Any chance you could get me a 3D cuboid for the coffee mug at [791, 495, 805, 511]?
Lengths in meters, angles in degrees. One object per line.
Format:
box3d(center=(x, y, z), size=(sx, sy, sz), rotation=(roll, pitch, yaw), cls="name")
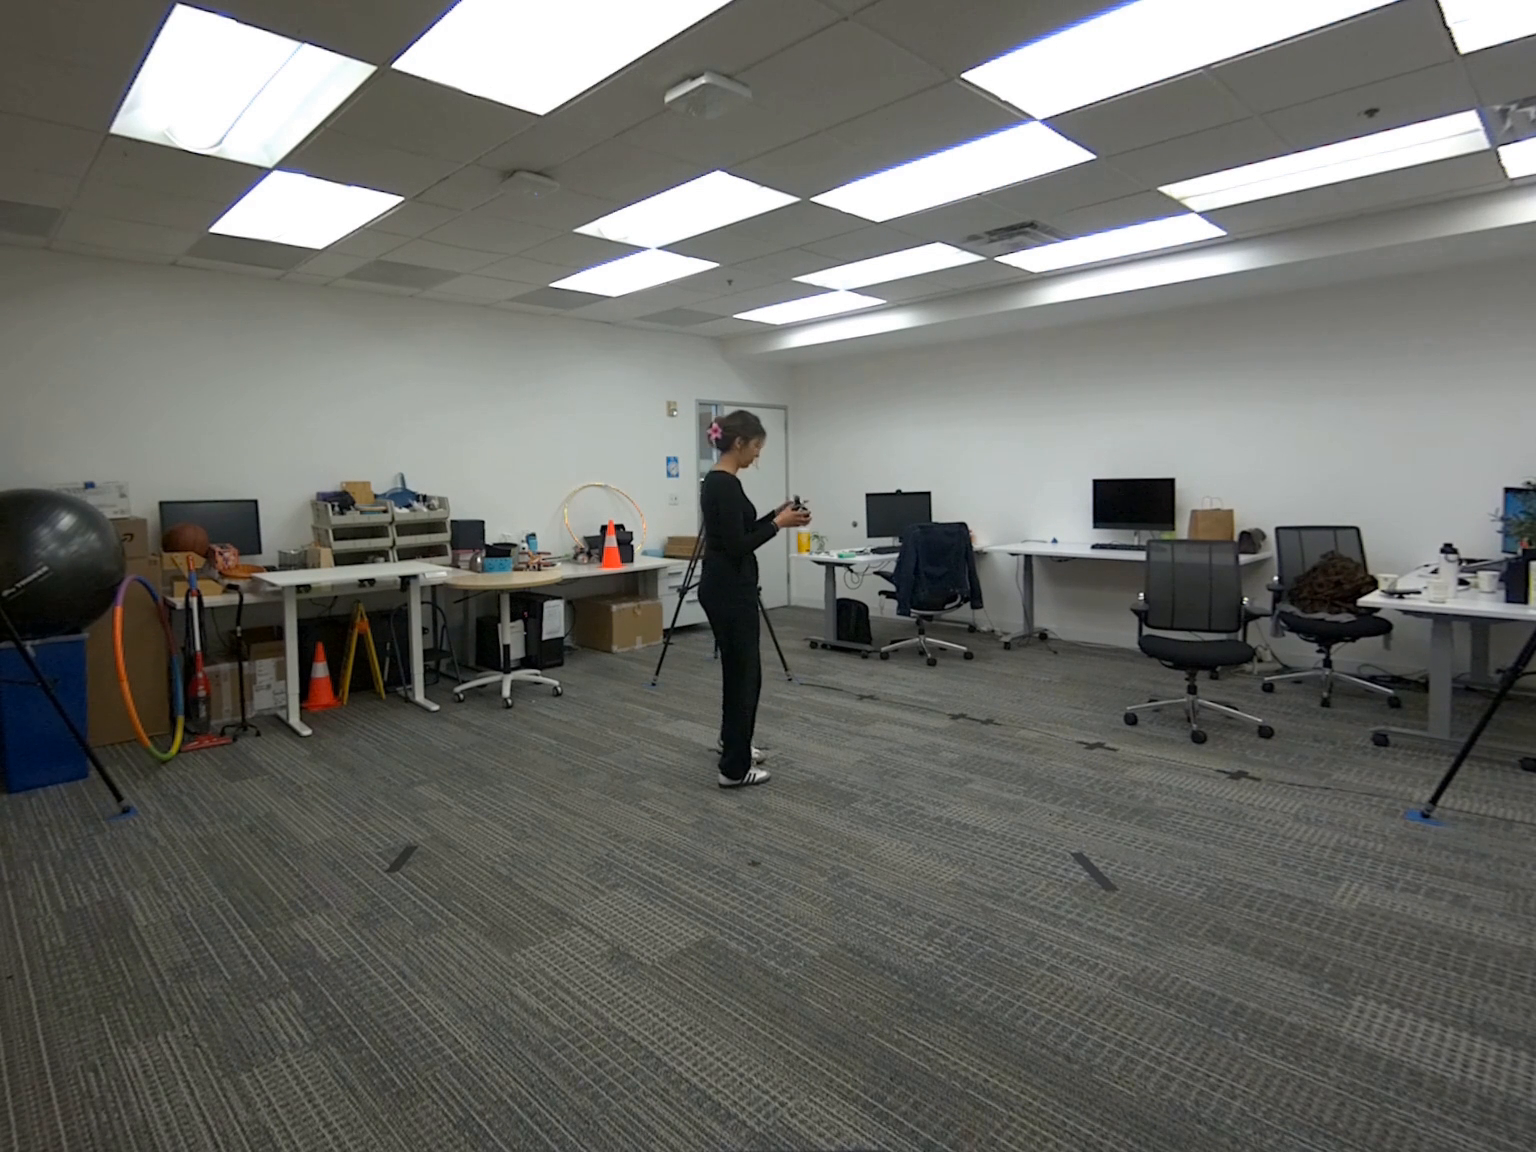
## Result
box3d(center=(0.136, -0.314, 3.885), size=(0.087, 0.121, 0.205), rotation=(23, 18, -5), cls="coffee mug")
